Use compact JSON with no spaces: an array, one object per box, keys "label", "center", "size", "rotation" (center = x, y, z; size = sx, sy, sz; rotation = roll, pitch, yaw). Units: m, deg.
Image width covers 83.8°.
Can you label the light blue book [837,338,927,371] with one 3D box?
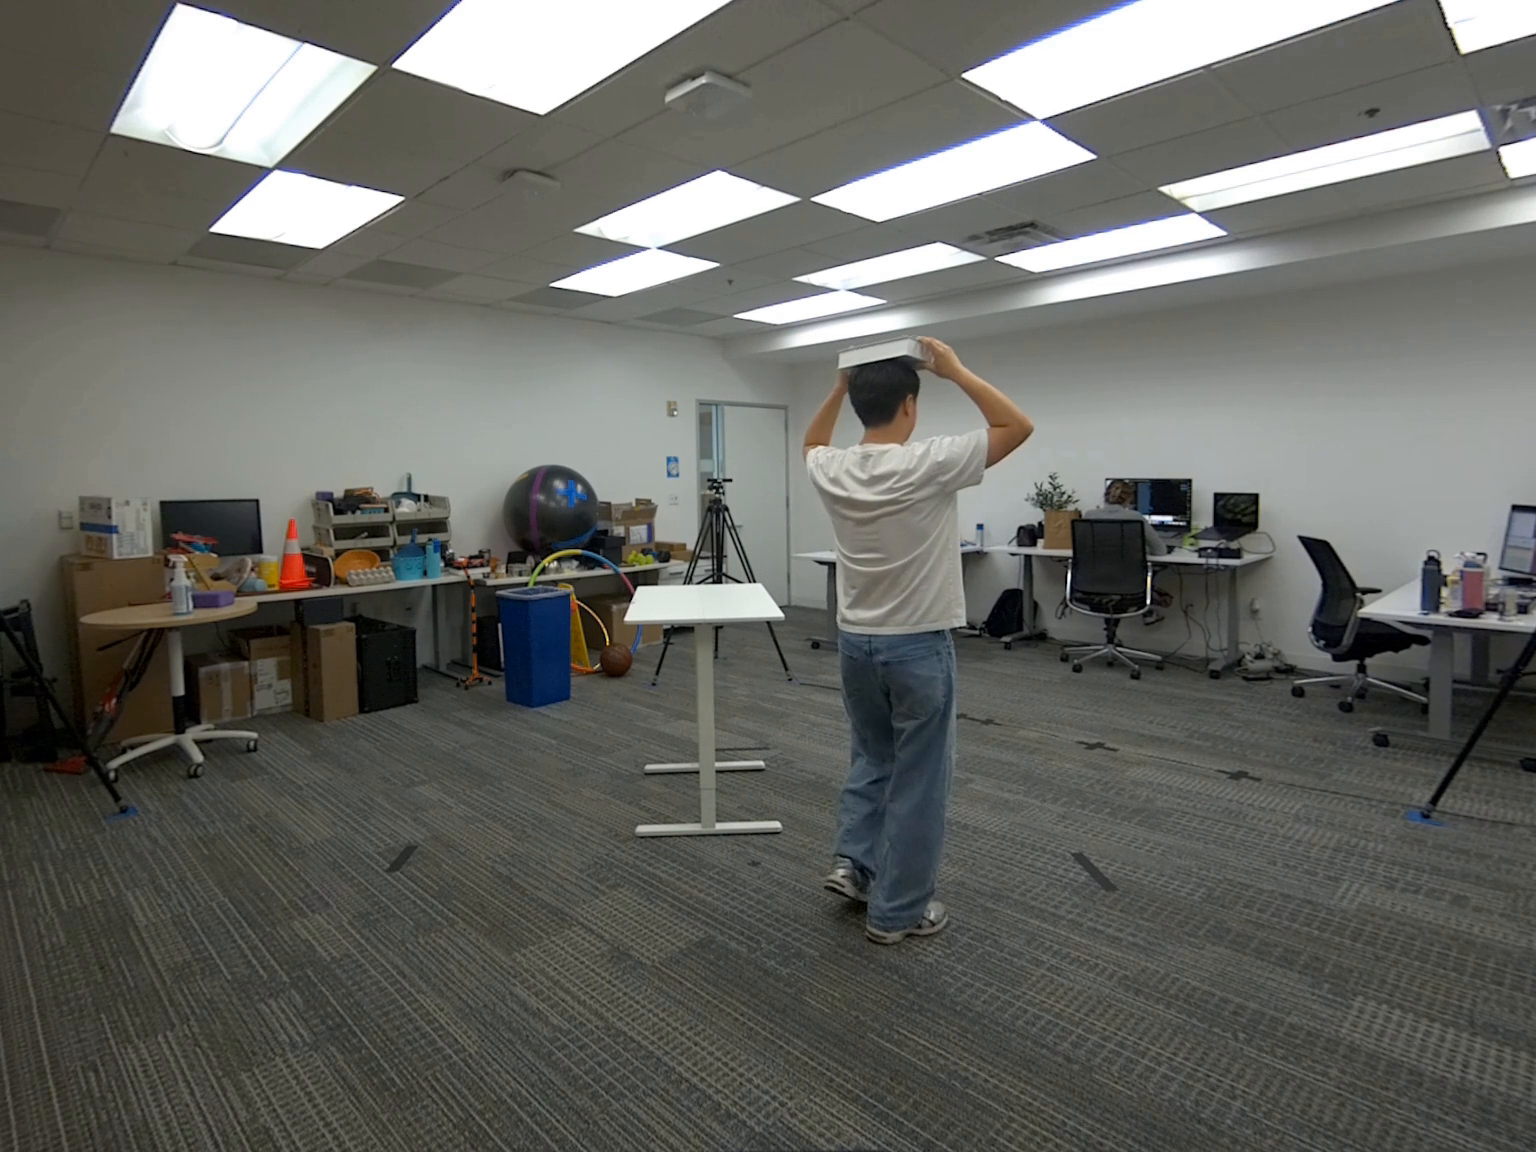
[{"label":"light blue book","center":[0.374,-0.665,2.631],"size":[0.268,0.059,0.185],"rotation":[0,-3,41]}]
